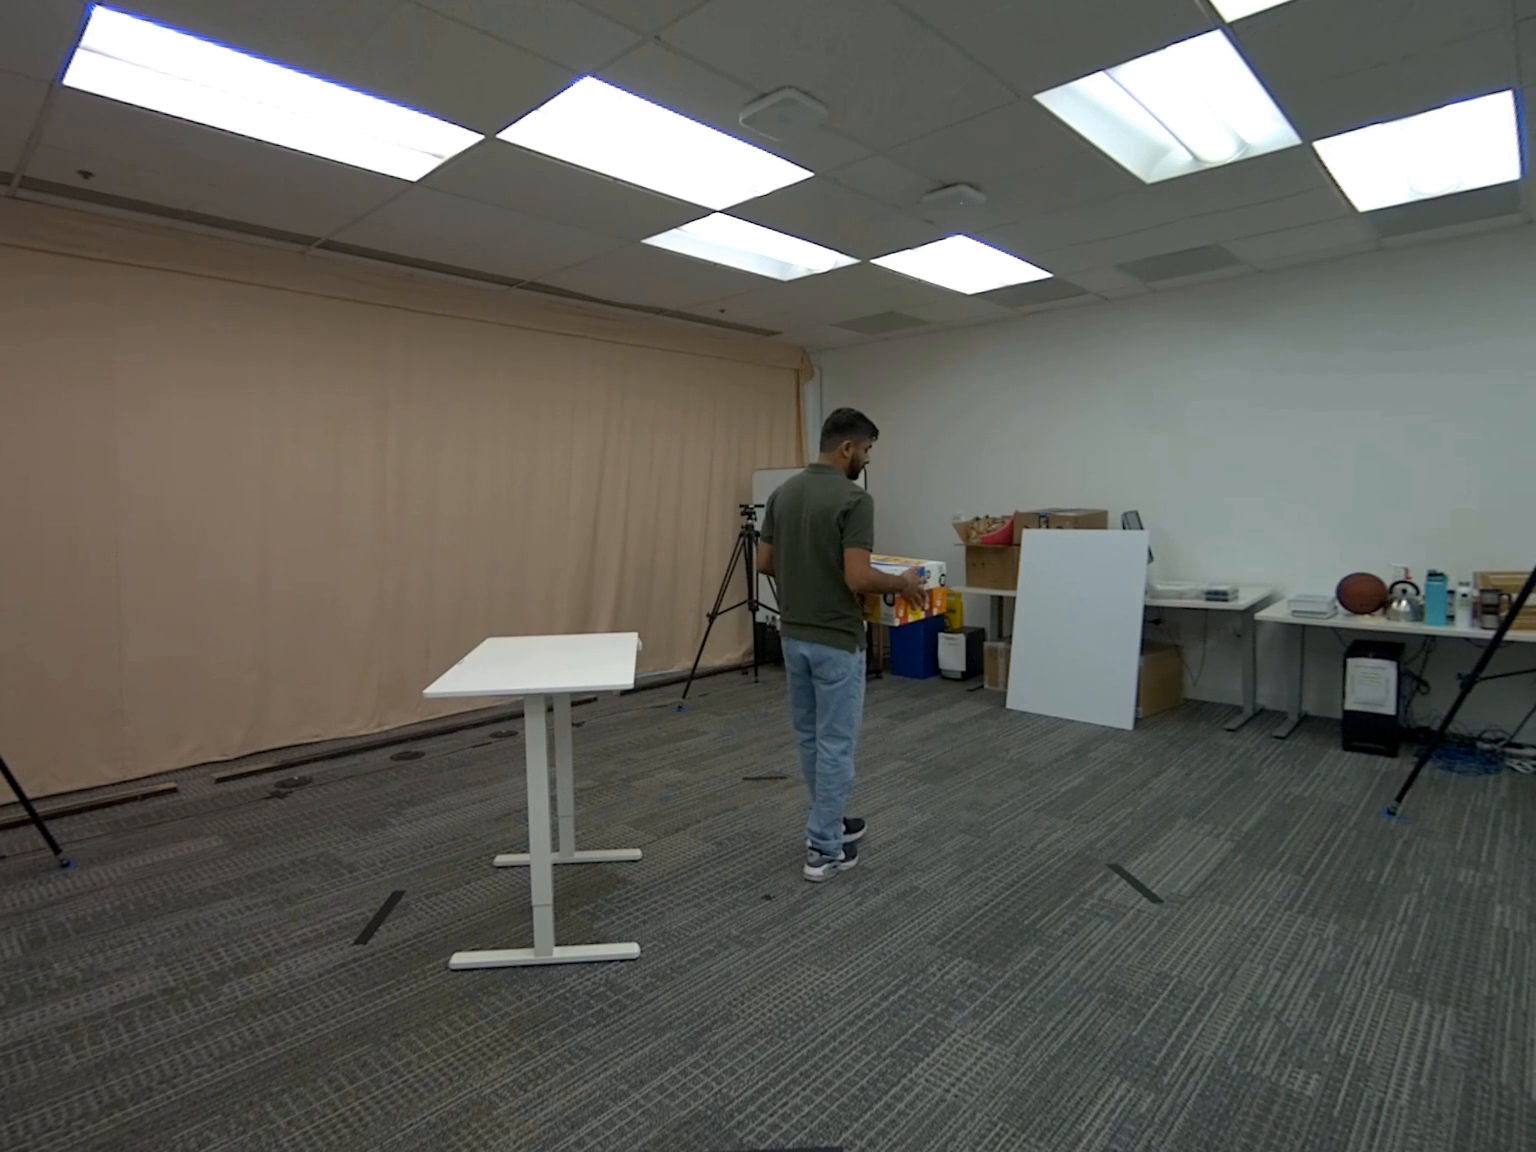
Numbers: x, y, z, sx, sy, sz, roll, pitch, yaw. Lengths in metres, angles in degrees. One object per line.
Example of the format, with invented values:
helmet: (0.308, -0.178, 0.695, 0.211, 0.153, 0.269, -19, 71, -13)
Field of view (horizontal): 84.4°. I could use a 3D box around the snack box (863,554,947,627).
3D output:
snack box: (0.442, 0.043, 3.374, 0.330, 0.204, 0.419, -10, 12, -44)
